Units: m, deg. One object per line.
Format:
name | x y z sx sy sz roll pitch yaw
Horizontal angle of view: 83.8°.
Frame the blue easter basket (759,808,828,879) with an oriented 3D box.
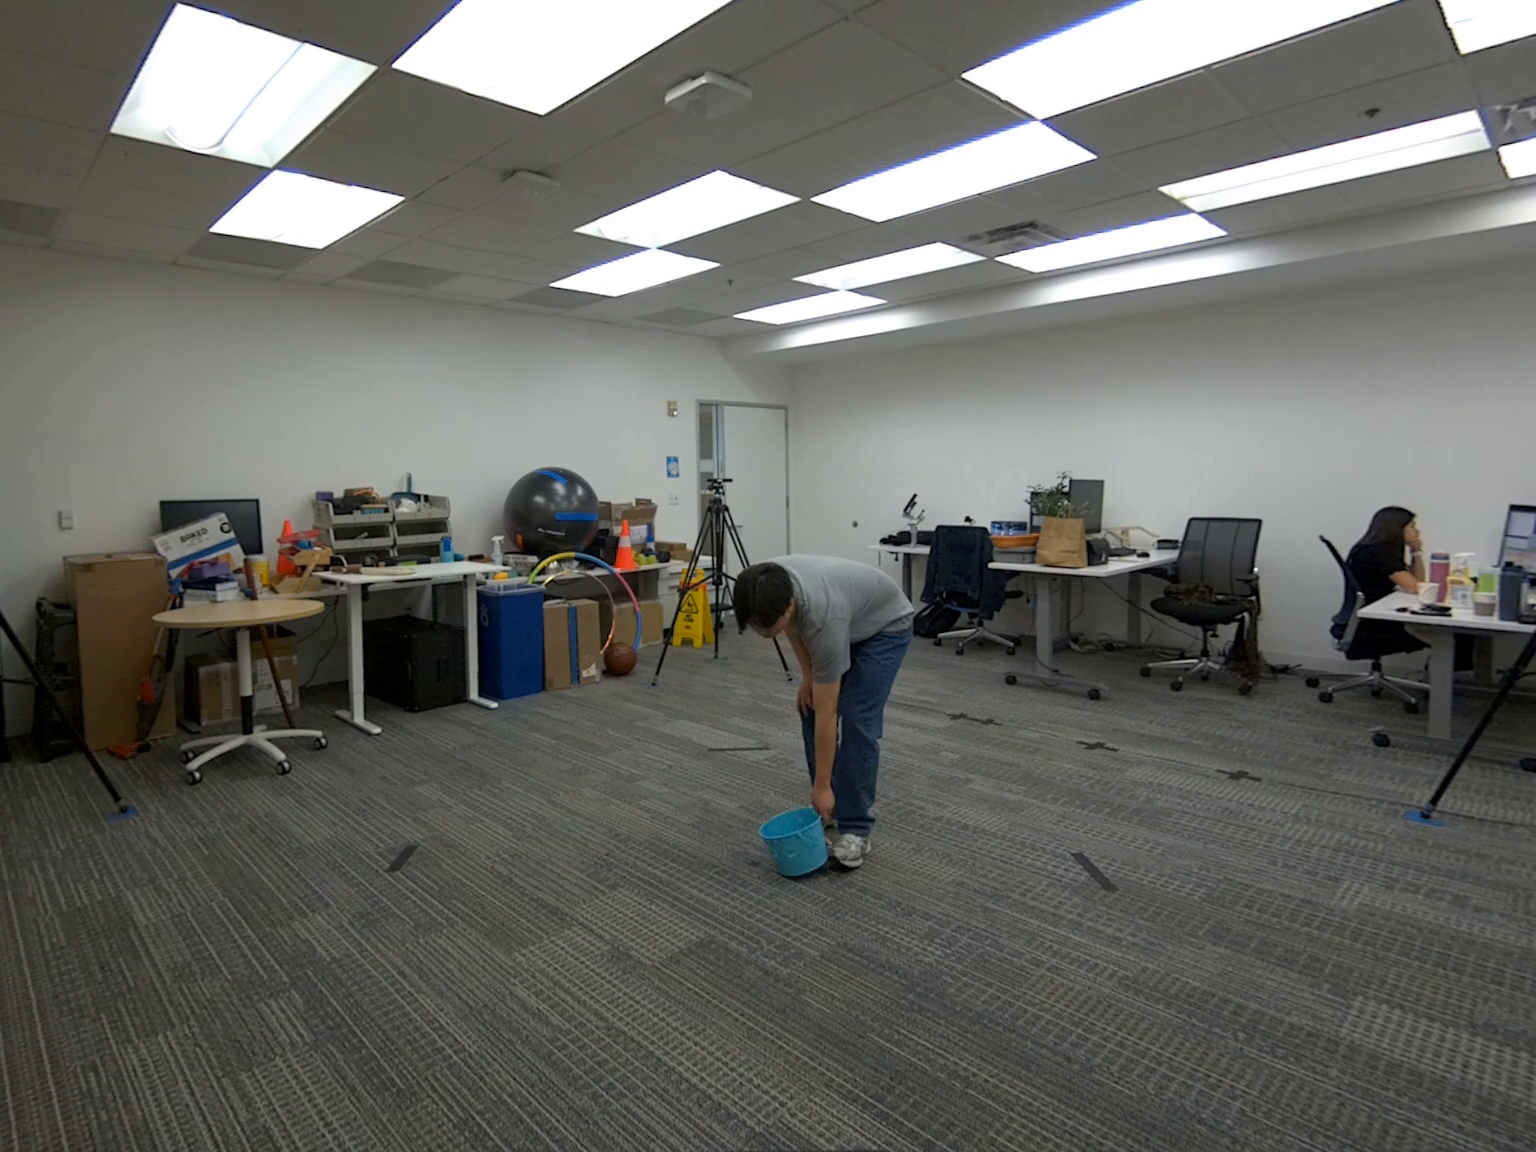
blue easter basket | 0.113 0.950 3.028 0.243 0.155 0.244 -18 4 -1
